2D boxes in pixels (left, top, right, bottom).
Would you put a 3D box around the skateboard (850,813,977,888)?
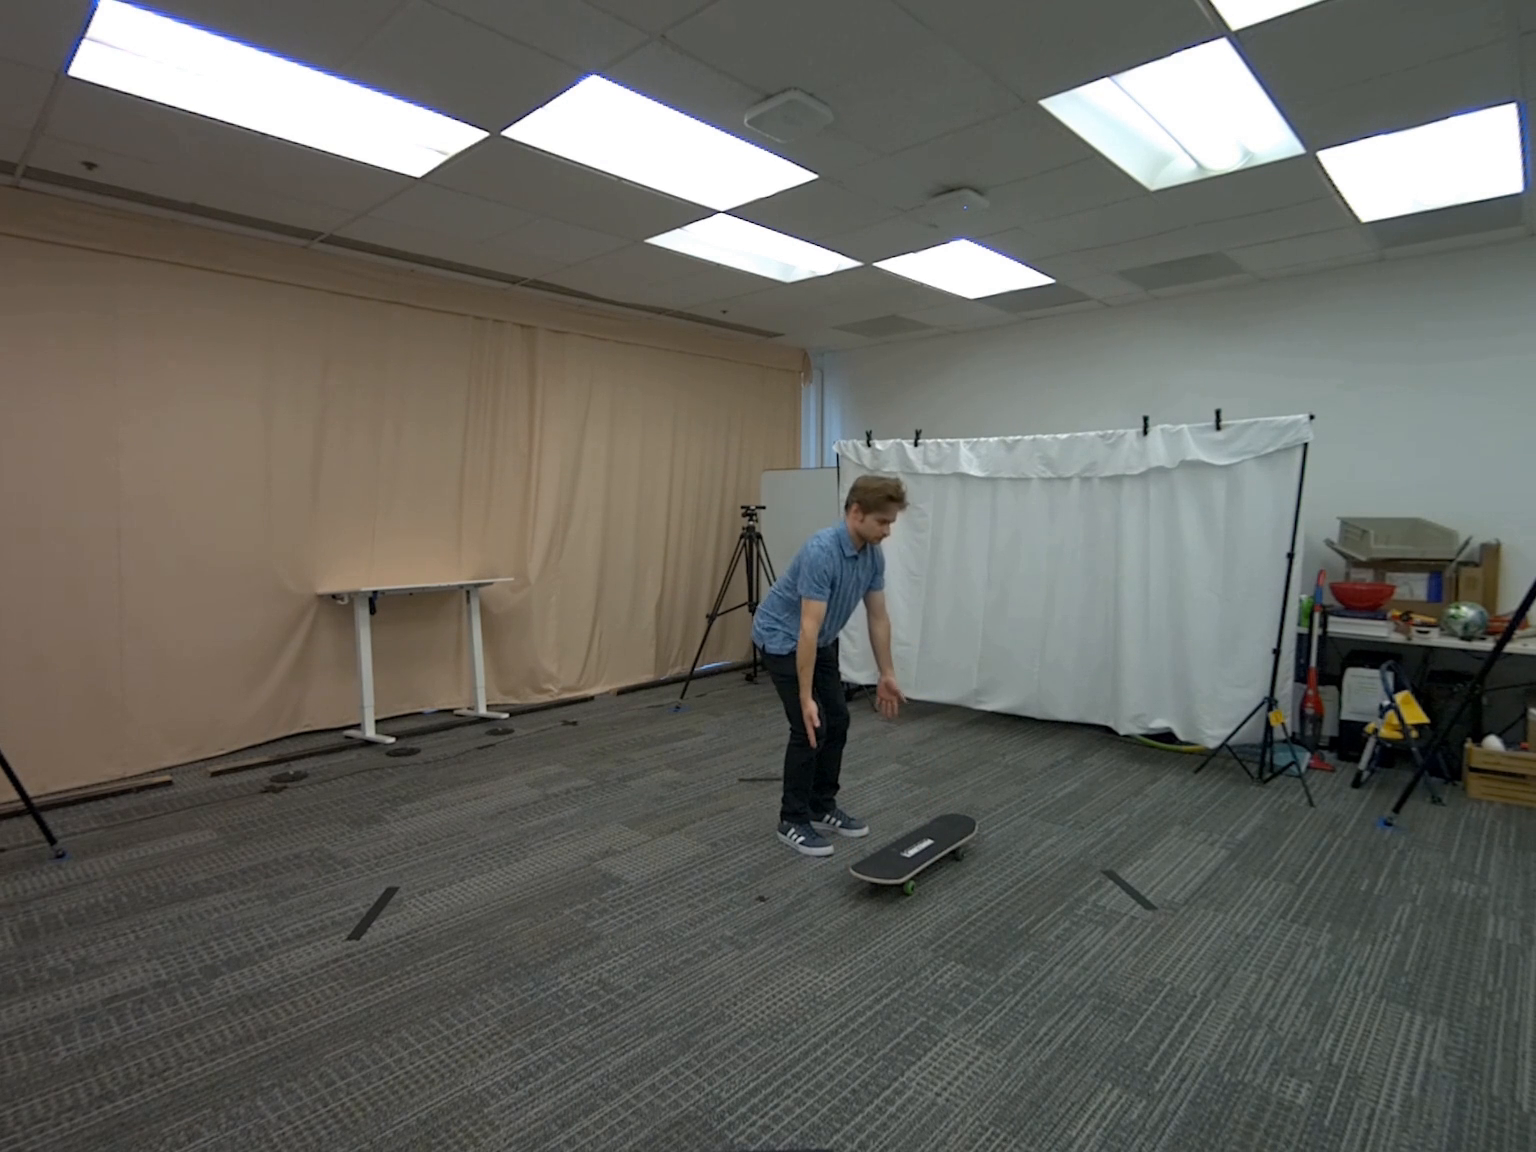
[{"bbox_3d":[0.572,1.069,3.205,0.200,0.110,0.762,3,6,40],"label":"skateboard"}]
